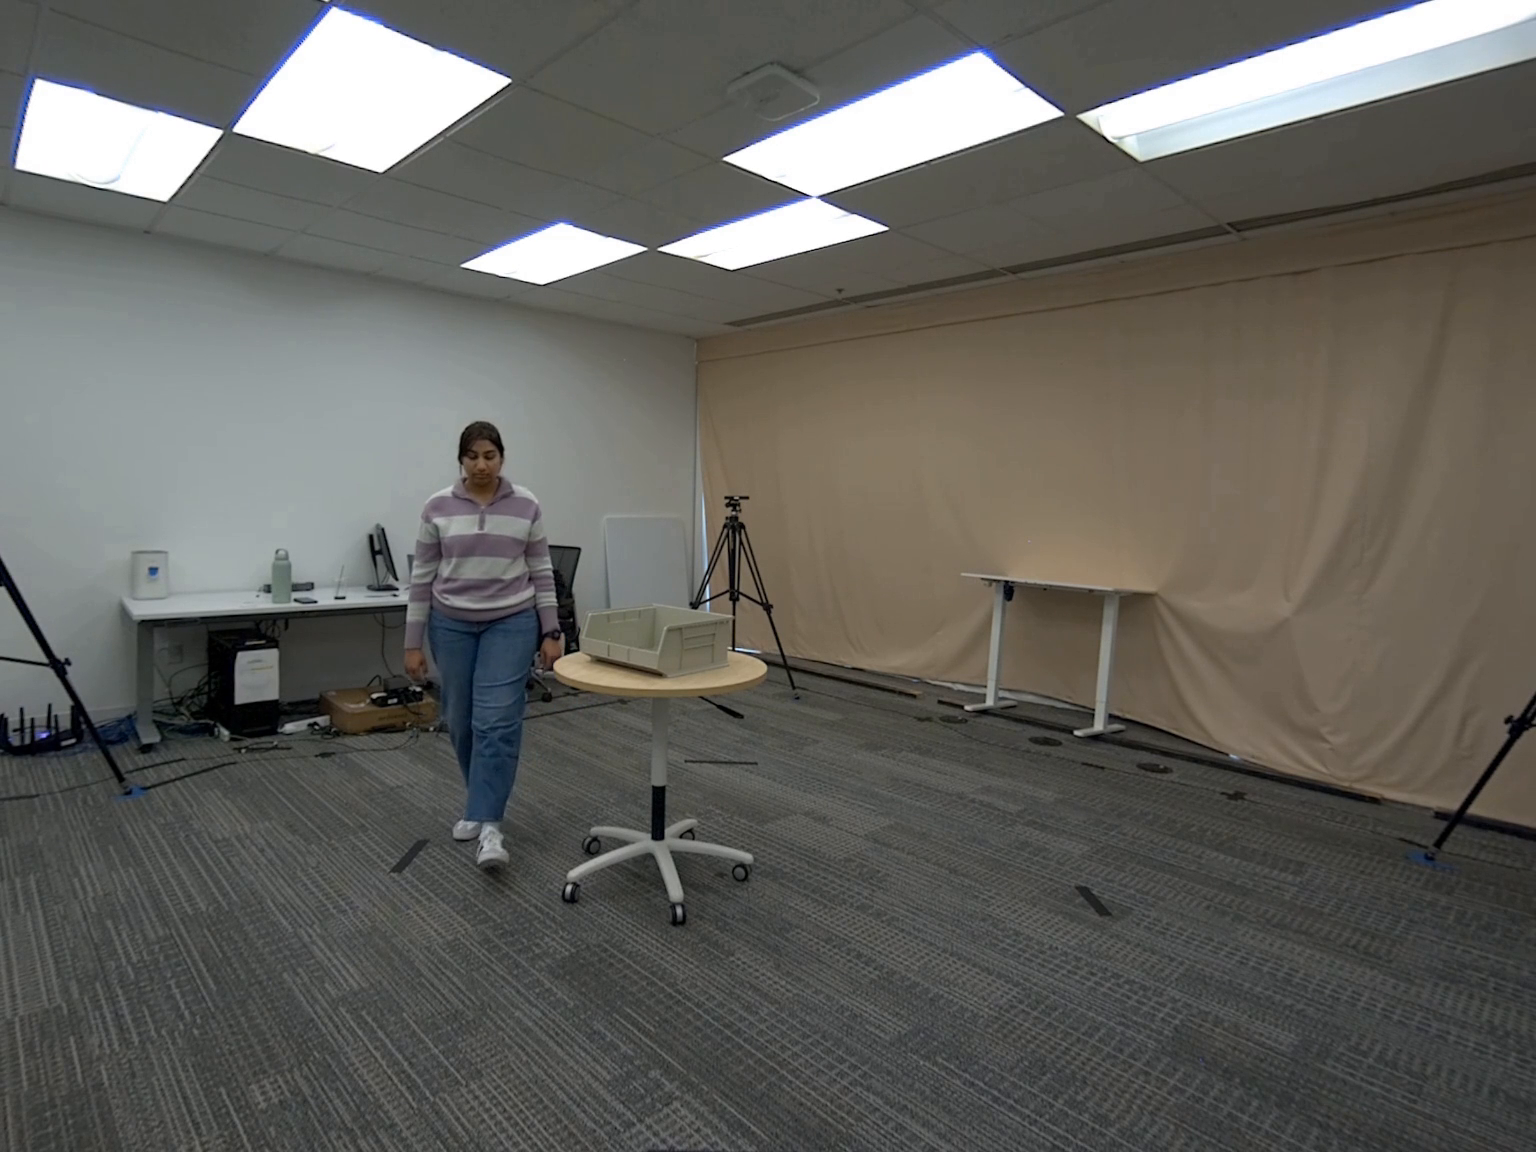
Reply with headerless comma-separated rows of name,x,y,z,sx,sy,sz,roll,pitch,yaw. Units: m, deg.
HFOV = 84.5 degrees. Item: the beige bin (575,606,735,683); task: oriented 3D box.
beige bin,-0.407,0.233,3.045,0.433,0.188,0.369,5,4,39
